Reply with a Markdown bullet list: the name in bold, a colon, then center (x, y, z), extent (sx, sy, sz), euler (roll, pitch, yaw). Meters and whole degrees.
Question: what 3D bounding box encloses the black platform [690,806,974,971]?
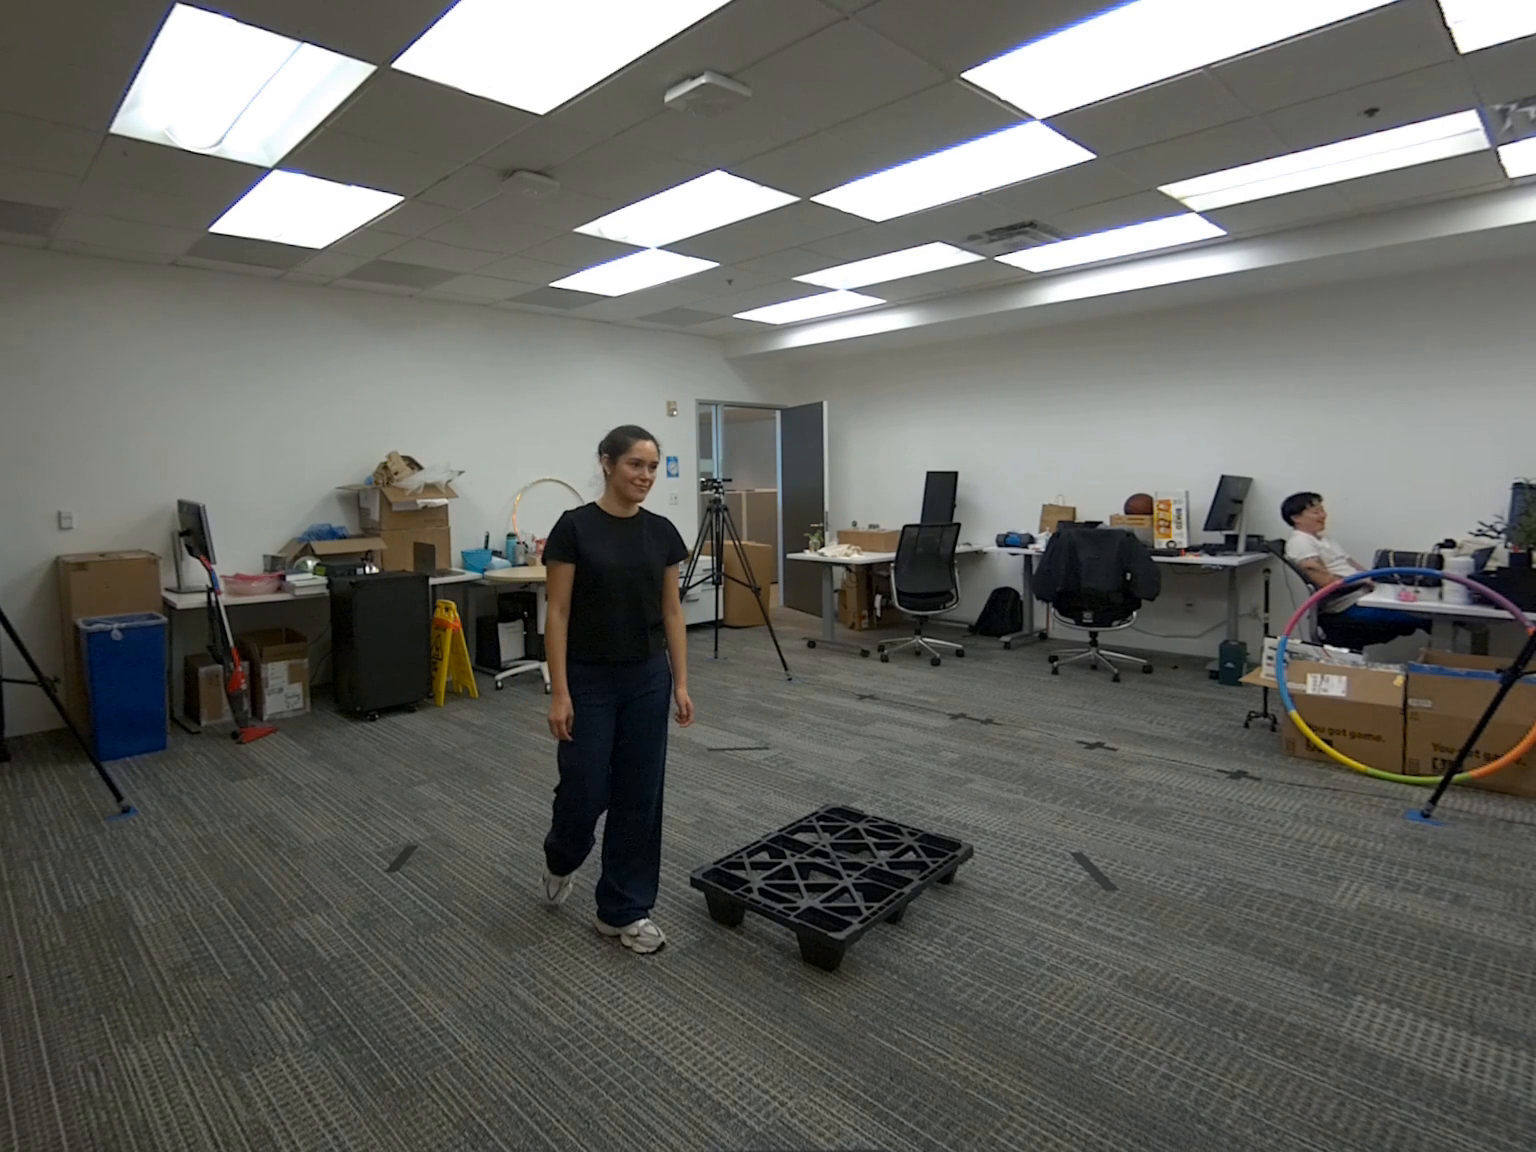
- **black platform**: center (0.231, 1.003, 2.849), extent (0.624, 0.142, 0.785), euler (5, 9, 40)
